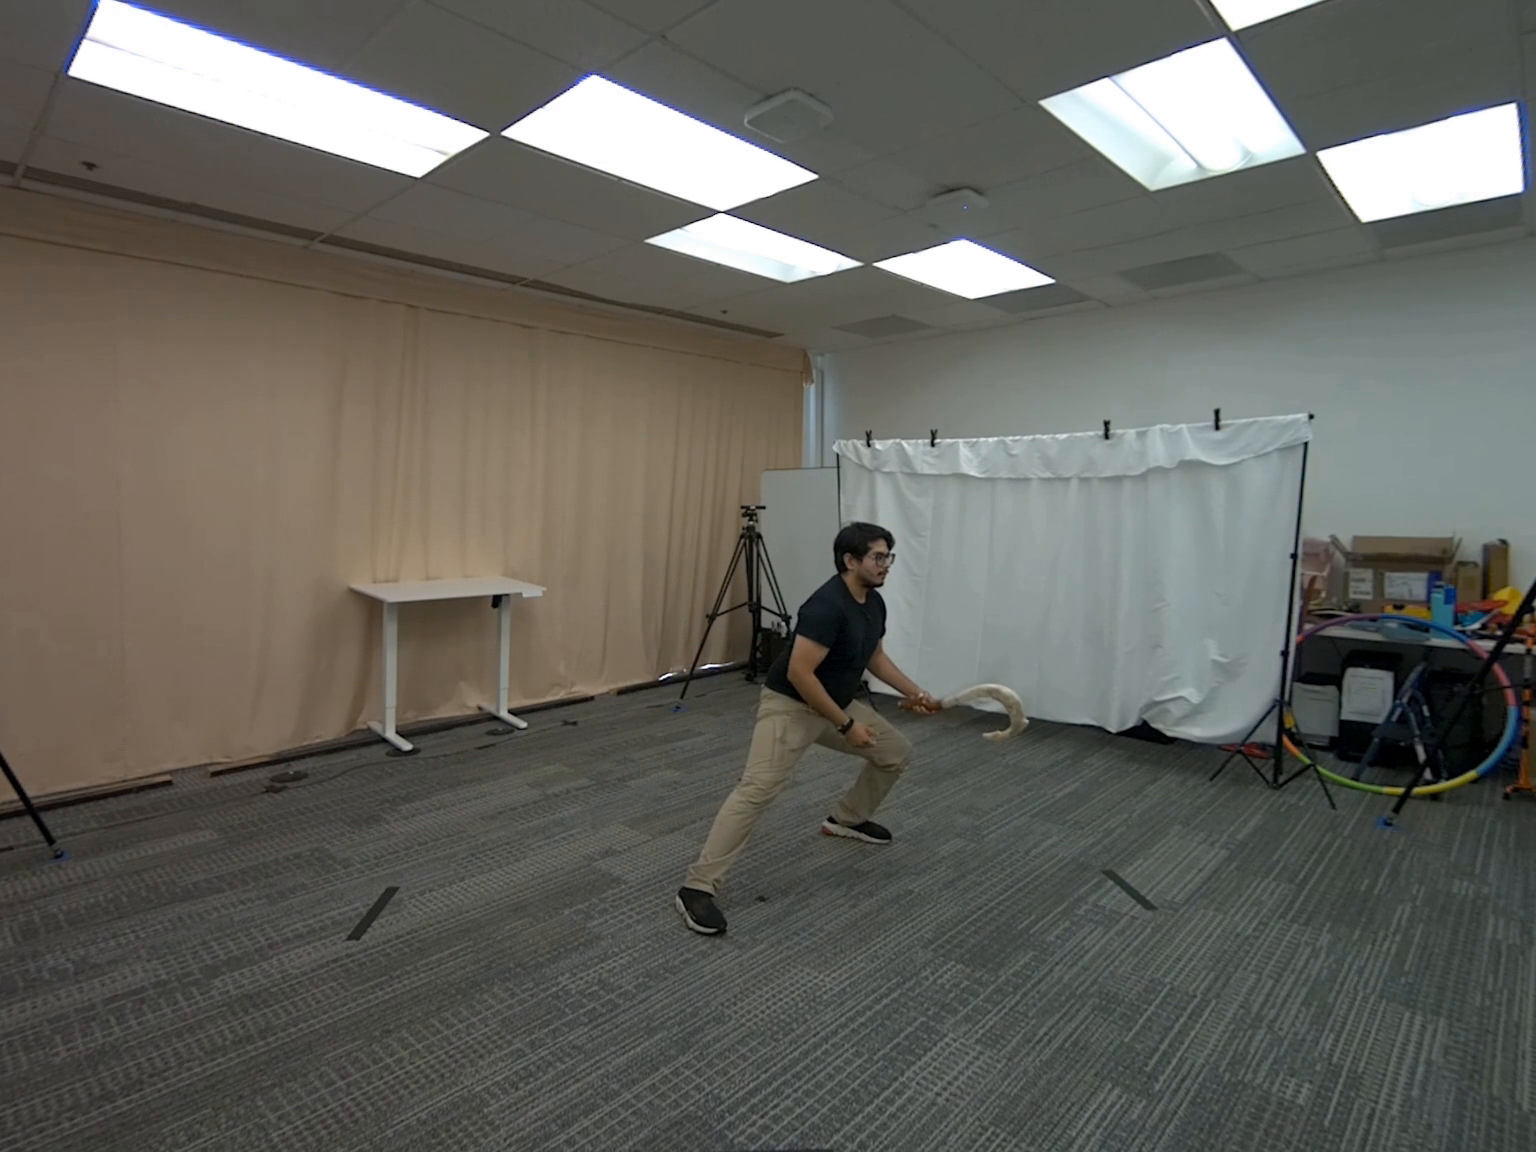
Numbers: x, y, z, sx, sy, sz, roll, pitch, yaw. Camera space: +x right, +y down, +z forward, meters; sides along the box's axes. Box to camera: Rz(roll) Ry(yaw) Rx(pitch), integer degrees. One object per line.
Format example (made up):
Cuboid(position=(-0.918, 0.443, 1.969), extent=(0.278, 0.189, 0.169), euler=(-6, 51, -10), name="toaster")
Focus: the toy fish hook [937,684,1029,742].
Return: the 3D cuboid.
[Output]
Cuboid(position=(0.733, 0.529, 3.175), extent=(0.520, 0.224, 0.047), euler=(-14, 4, 42), name="toy fish hook")
